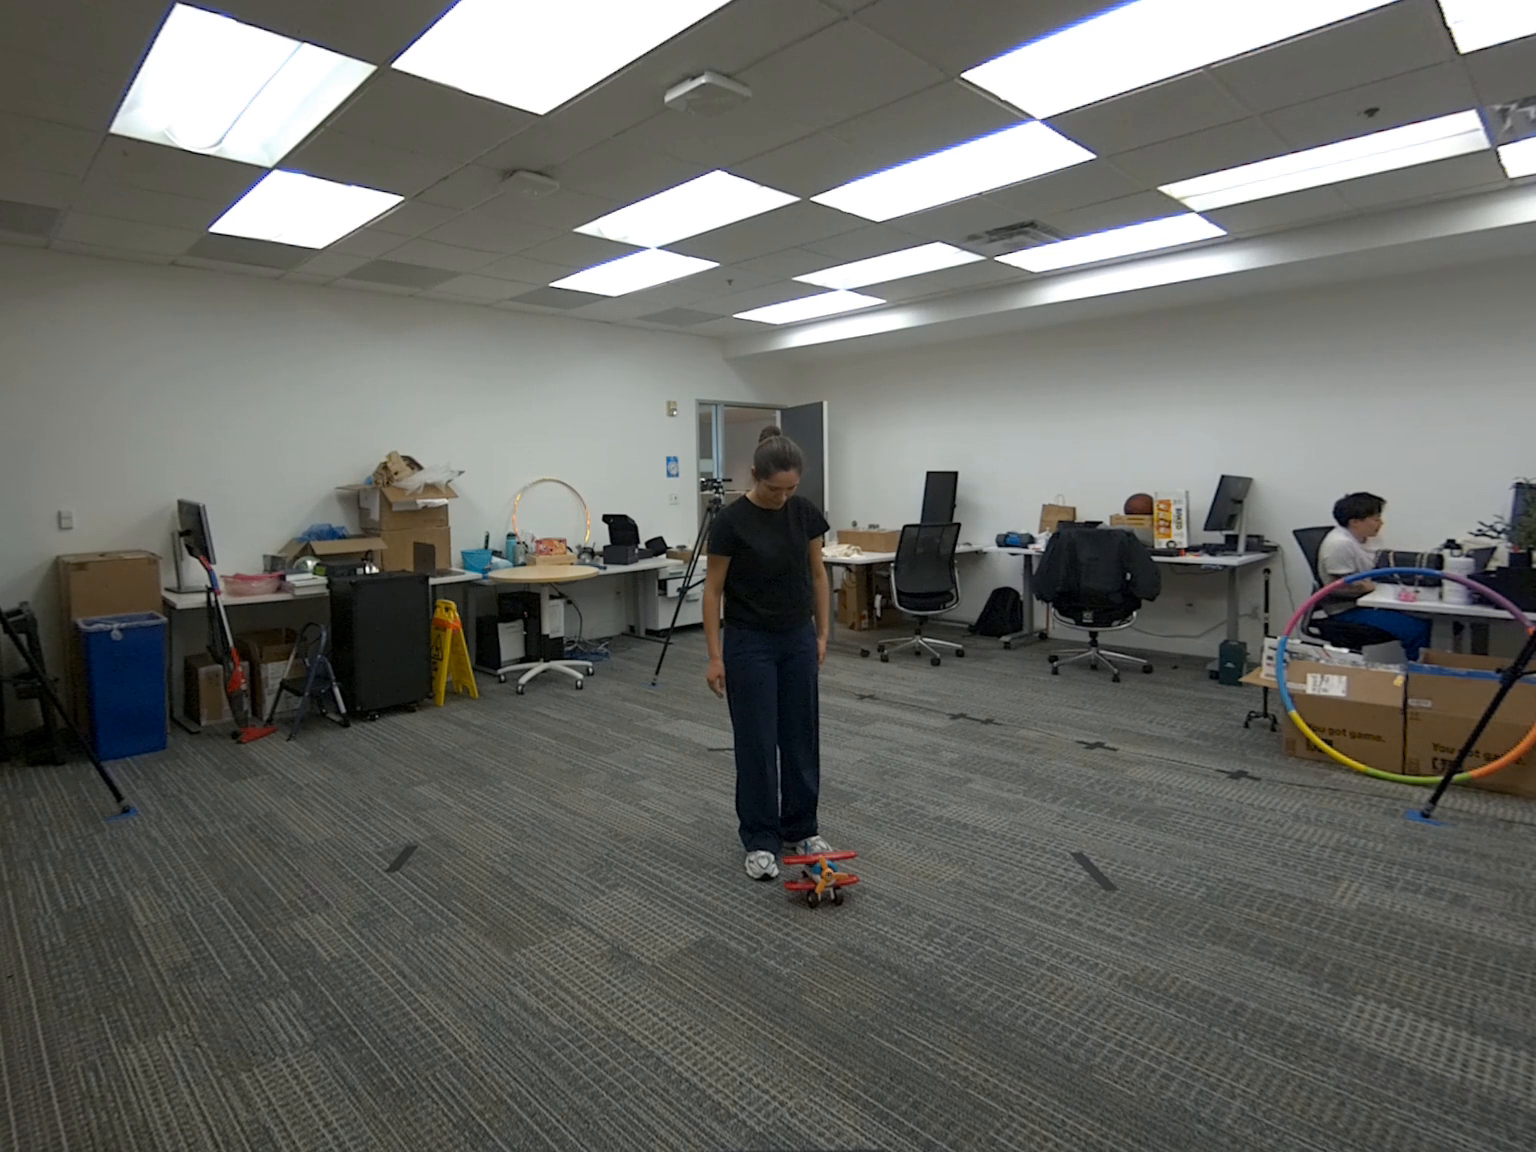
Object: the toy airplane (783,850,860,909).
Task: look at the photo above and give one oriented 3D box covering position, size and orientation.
[{"bbox_3d":[0.148,0.994,2.884,0.245,0.155,0.267,-6,8,-38],"label":"toy airplane"}]
